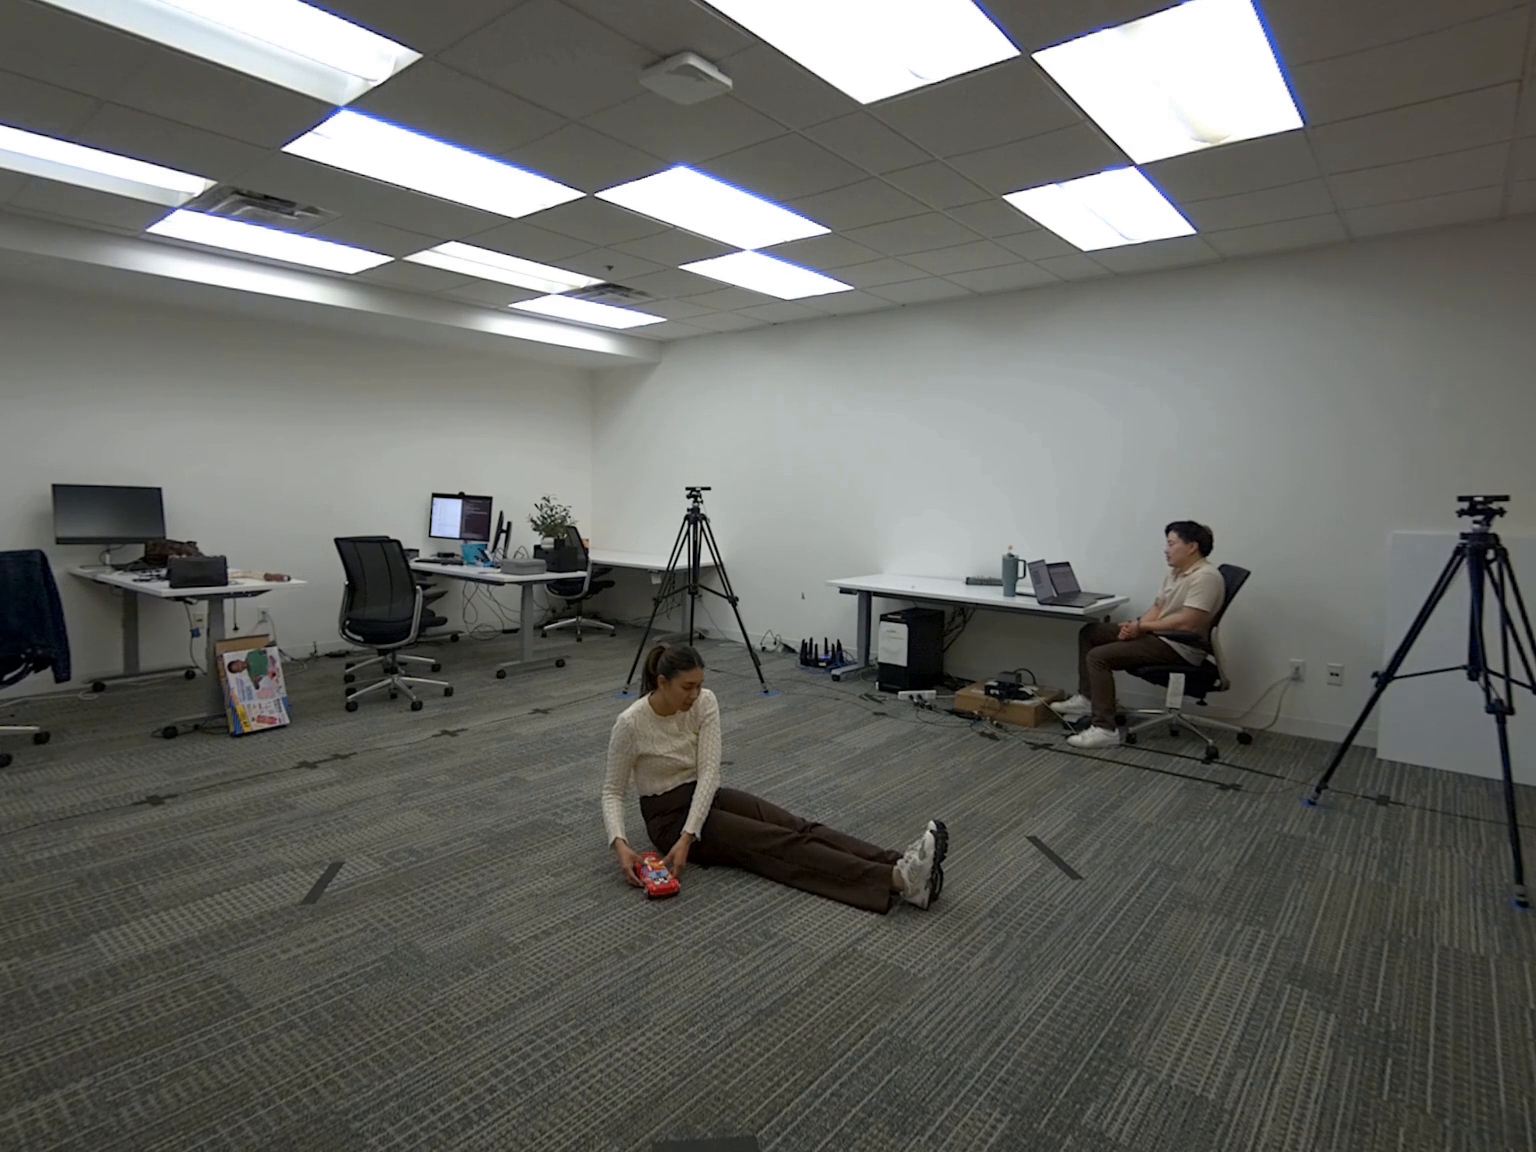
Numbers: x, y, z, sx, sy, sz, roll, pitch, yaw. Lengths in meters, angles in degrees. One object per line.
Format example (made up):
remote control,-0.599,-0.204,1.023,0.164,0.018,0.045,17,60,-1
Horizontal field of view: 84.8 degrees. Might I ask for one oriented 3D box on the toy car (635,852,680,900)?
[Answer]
toy car,-0.417,1.047,2.969,0.127,0.082,0.263,-1,13,-26
